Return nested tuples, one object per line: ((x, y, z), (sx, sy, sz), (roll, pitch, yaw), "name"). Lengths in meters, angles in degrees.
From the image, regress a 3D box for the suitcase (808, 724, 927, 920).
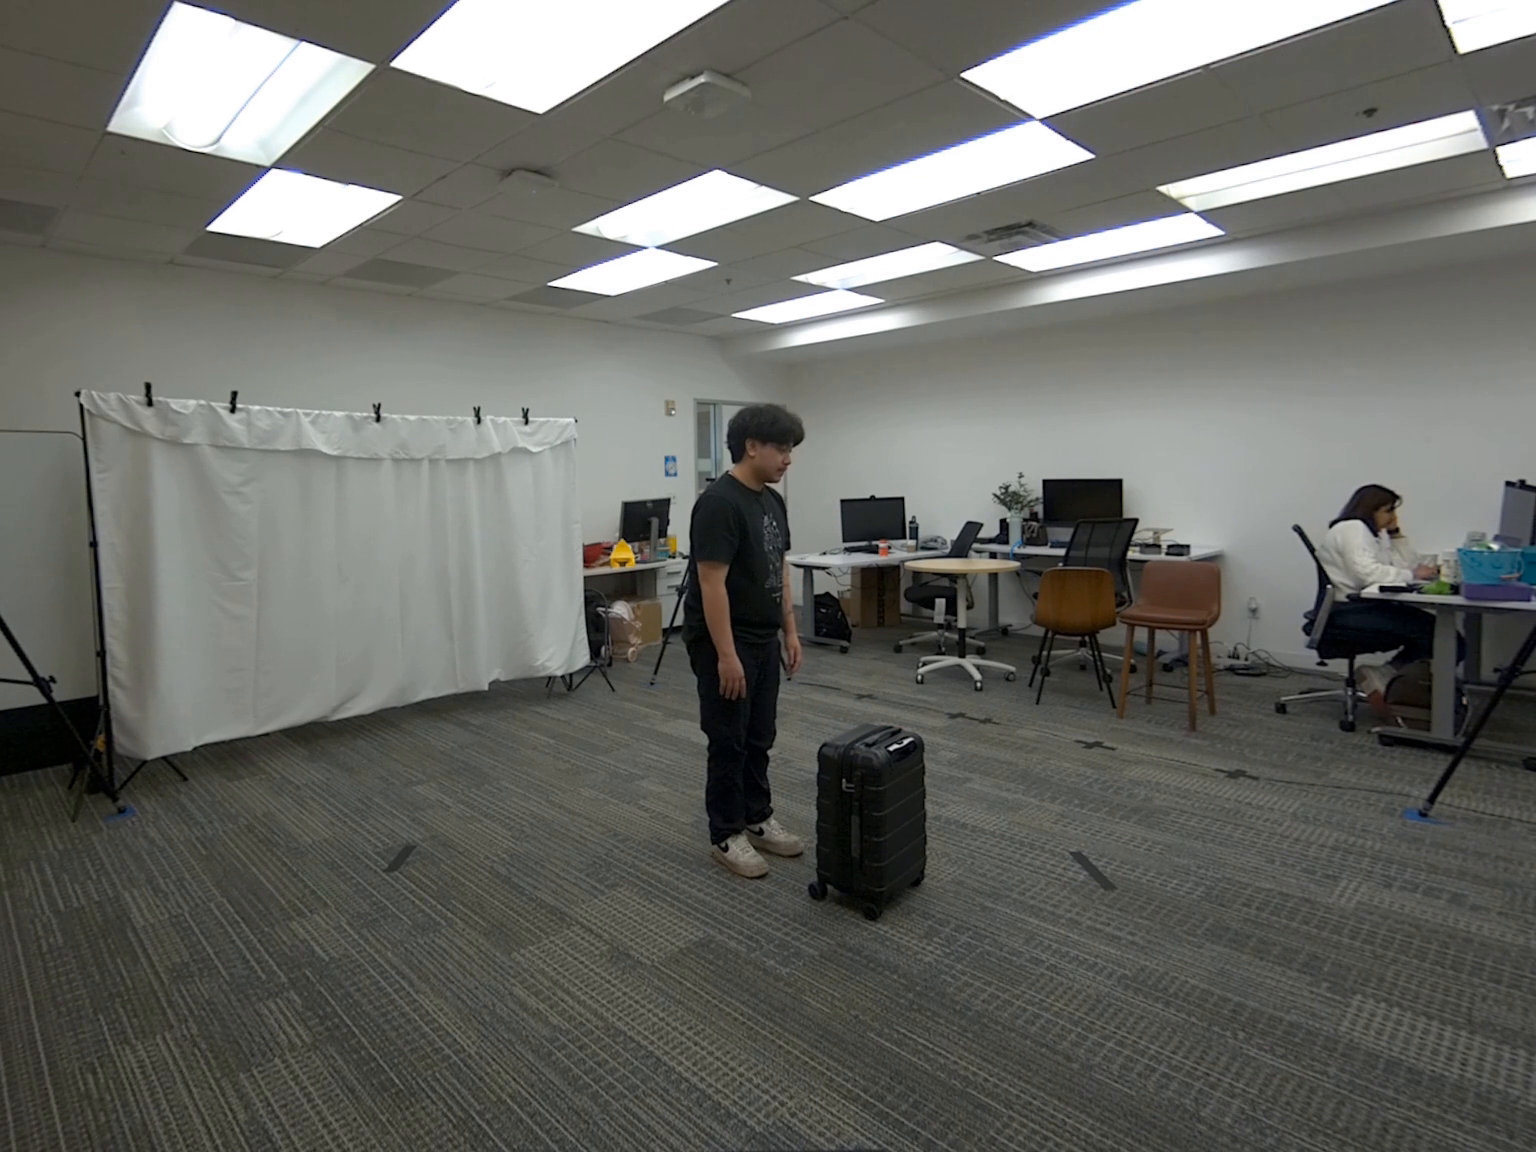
((0.350, 0.792, 2.846), (0.256, 0.547, 0.366), (3, 6, 36), "suitcase")
